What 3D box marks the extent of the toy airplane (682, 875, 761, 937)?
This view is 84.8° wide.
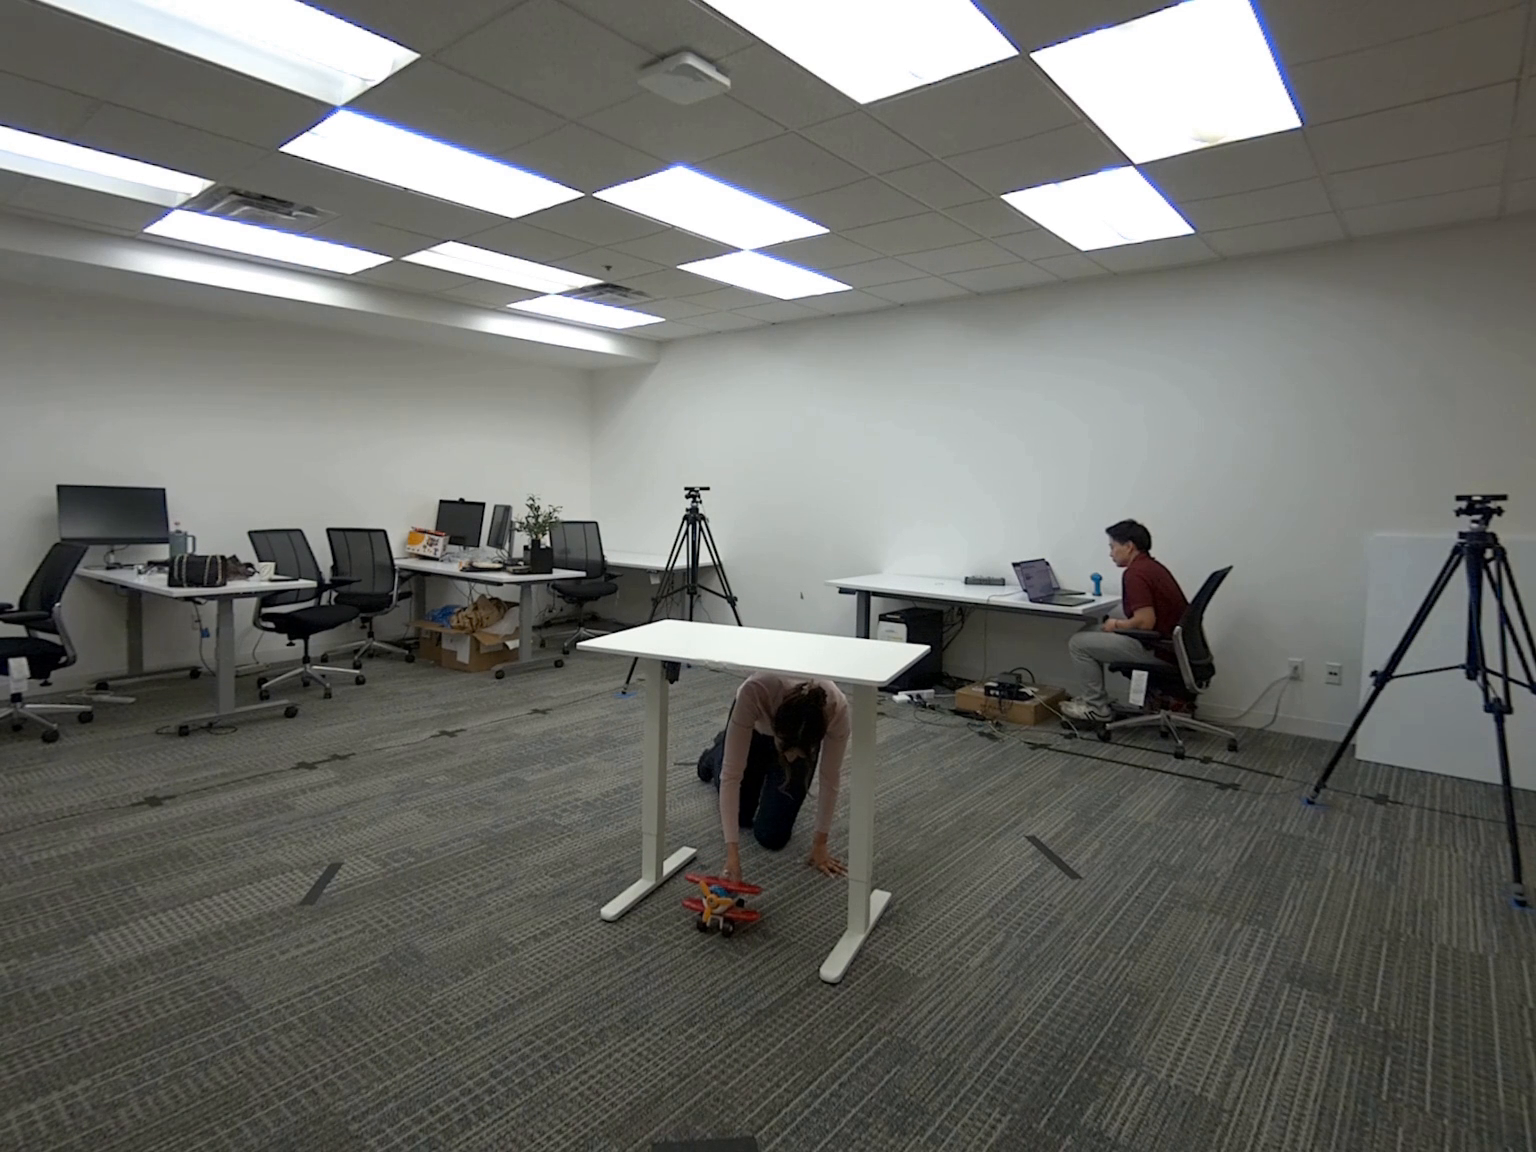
[{"bbox_3d":[-0.171,1.027,2.728,0.249,0.155,0.263,1,7,-10],"label":"toy airplane"}]
